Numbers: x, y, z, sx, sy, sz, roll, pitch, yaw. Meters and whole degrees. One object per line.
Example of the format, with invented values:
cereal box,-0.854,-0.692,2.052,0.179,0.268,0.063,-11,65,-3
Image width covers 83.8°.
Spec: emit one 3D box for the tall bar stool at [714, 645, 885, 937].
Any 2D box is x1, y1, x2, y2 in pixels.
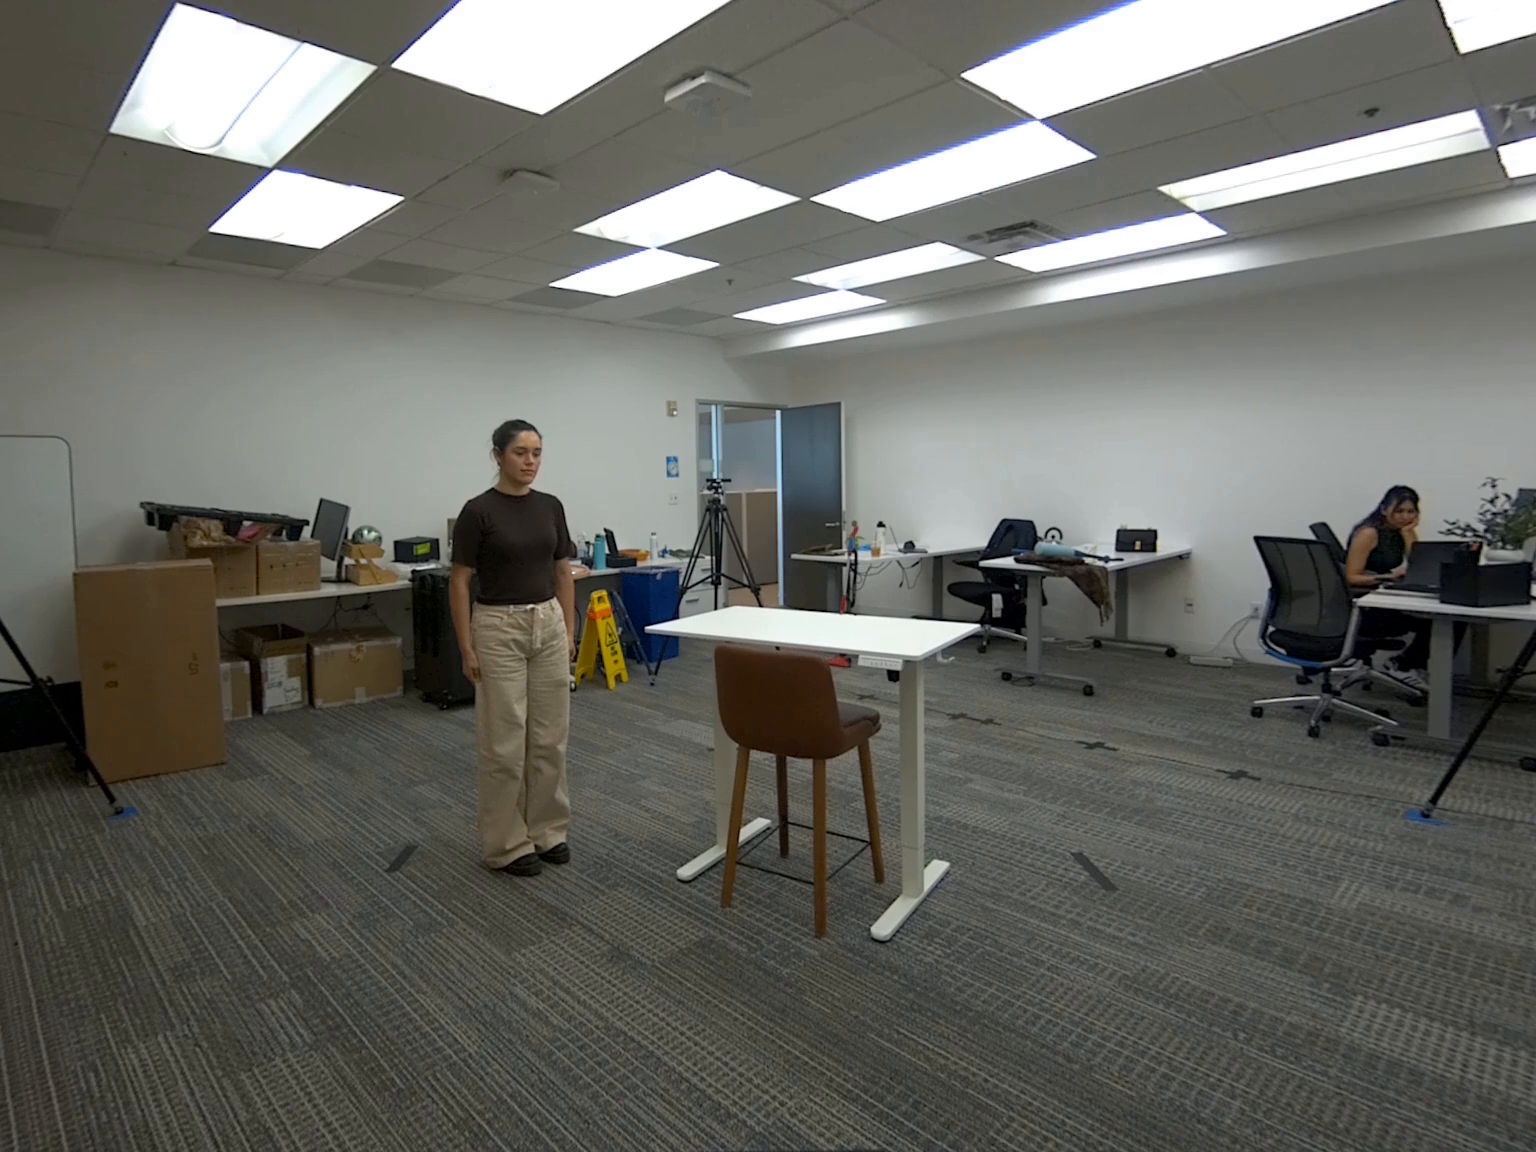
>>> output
tall bar stool,0.106,0.638,2.845,0.469,0.886,0.457,1,6,33
